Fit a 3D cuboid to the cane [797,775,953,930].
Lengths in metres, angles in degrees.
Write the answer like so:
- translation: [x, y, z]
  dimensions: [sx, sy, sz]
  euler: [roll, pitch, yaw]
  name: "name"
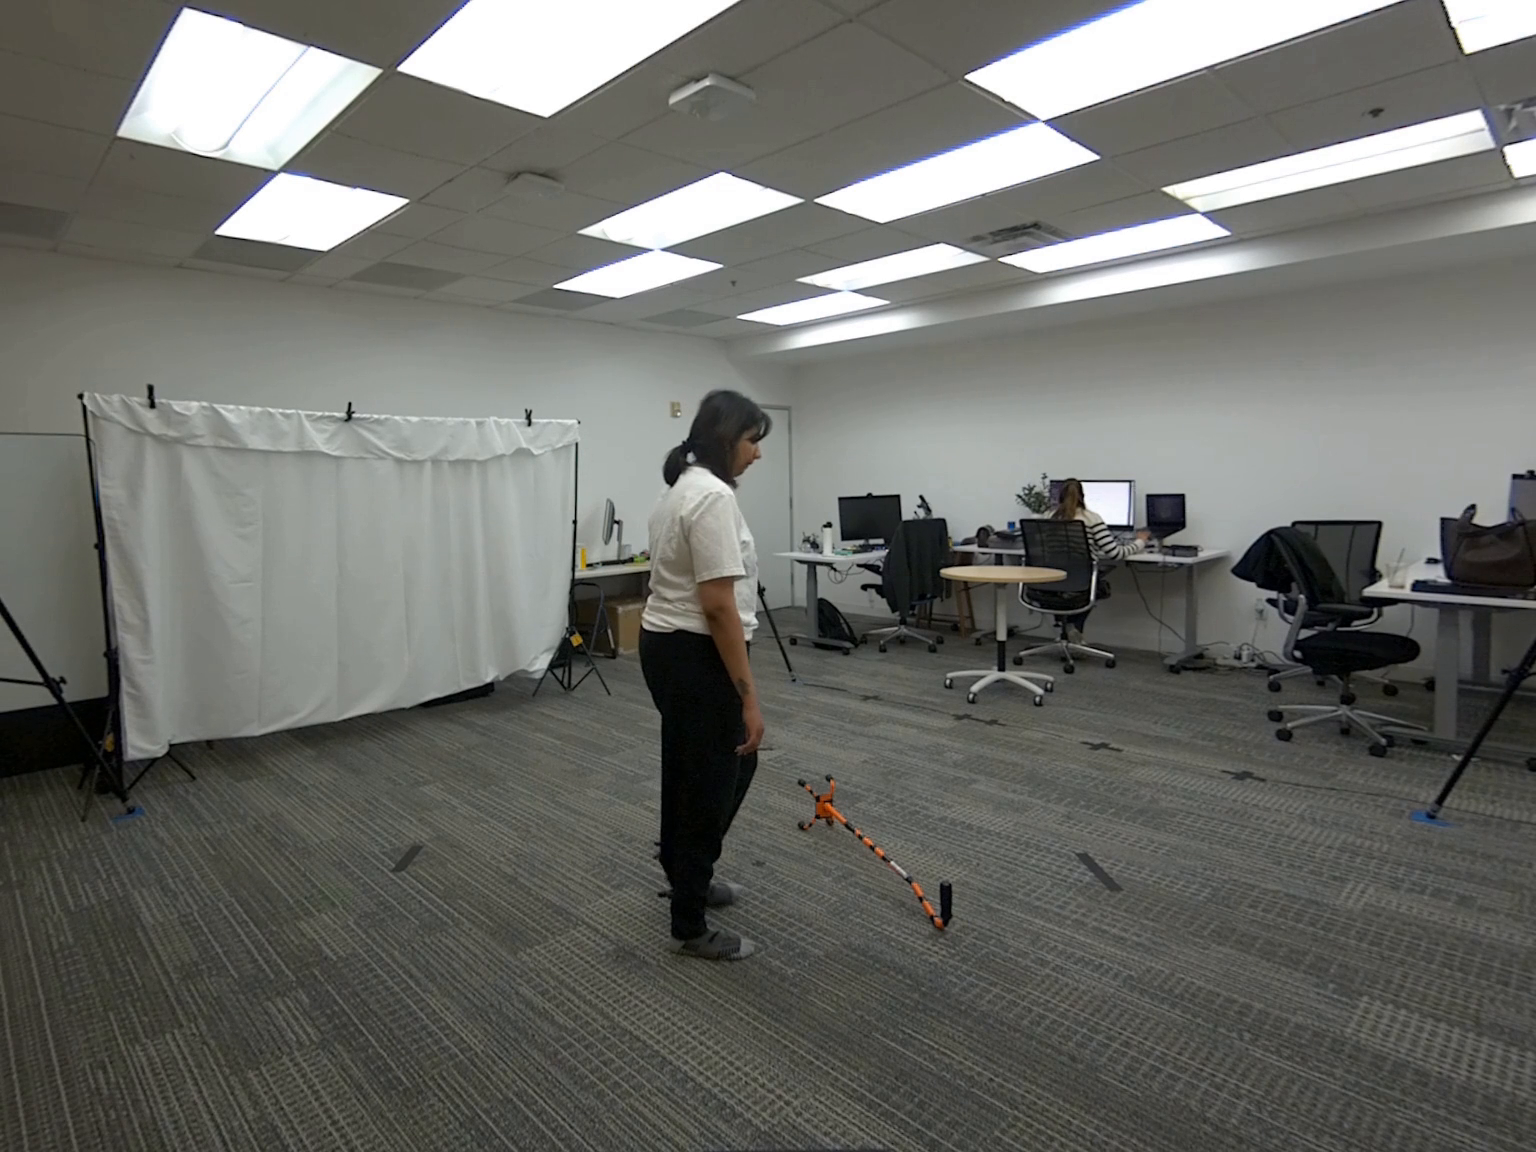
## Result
- translation: [0.359, 0.958, 3.013]
  dimensions: [0.149, 0.205, 0.930]
  euler: [-1, 8, -22]
  name: "cane"
